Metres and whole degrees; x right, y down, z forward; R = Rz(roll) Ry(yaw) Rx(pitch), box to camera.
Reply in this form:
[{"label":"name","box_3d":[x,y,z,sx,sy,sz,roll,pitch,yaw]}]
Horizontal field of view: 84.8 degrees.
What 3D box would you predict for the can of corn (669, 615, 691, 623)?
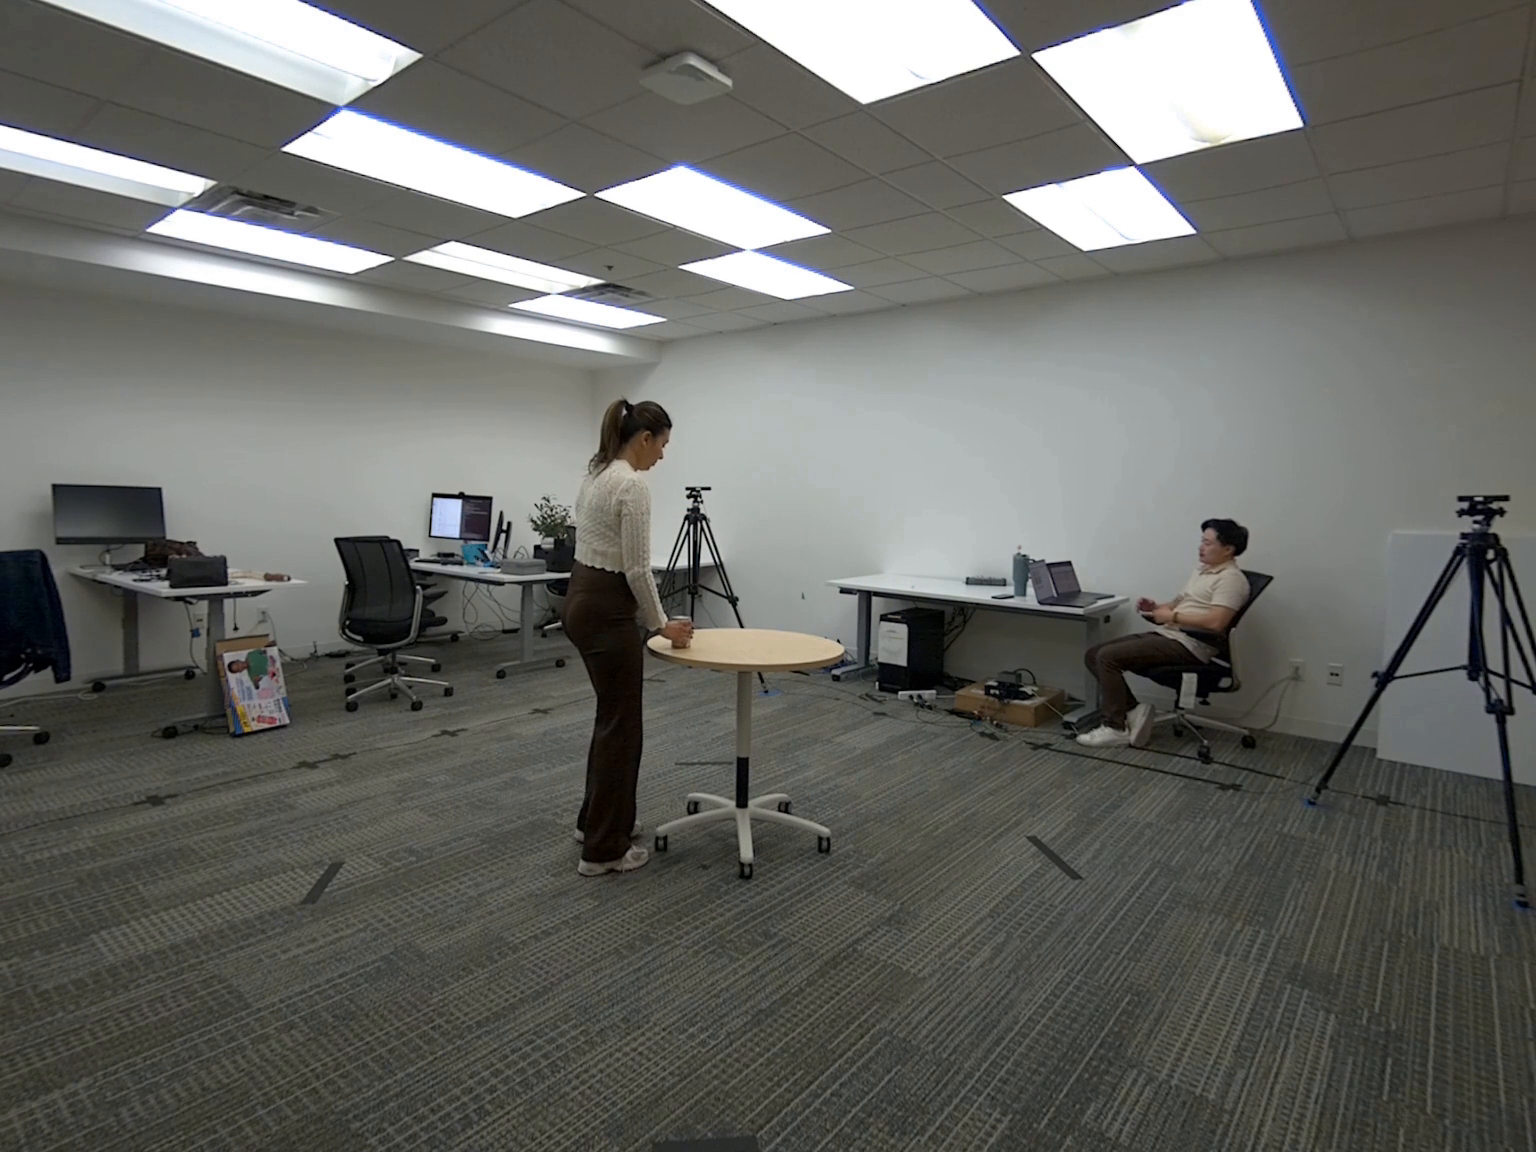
[{"label":"can of corn","box_3d":[-0.337,0.215,3.215,0.074,0.110,0.074,-4,4,-2]}]
